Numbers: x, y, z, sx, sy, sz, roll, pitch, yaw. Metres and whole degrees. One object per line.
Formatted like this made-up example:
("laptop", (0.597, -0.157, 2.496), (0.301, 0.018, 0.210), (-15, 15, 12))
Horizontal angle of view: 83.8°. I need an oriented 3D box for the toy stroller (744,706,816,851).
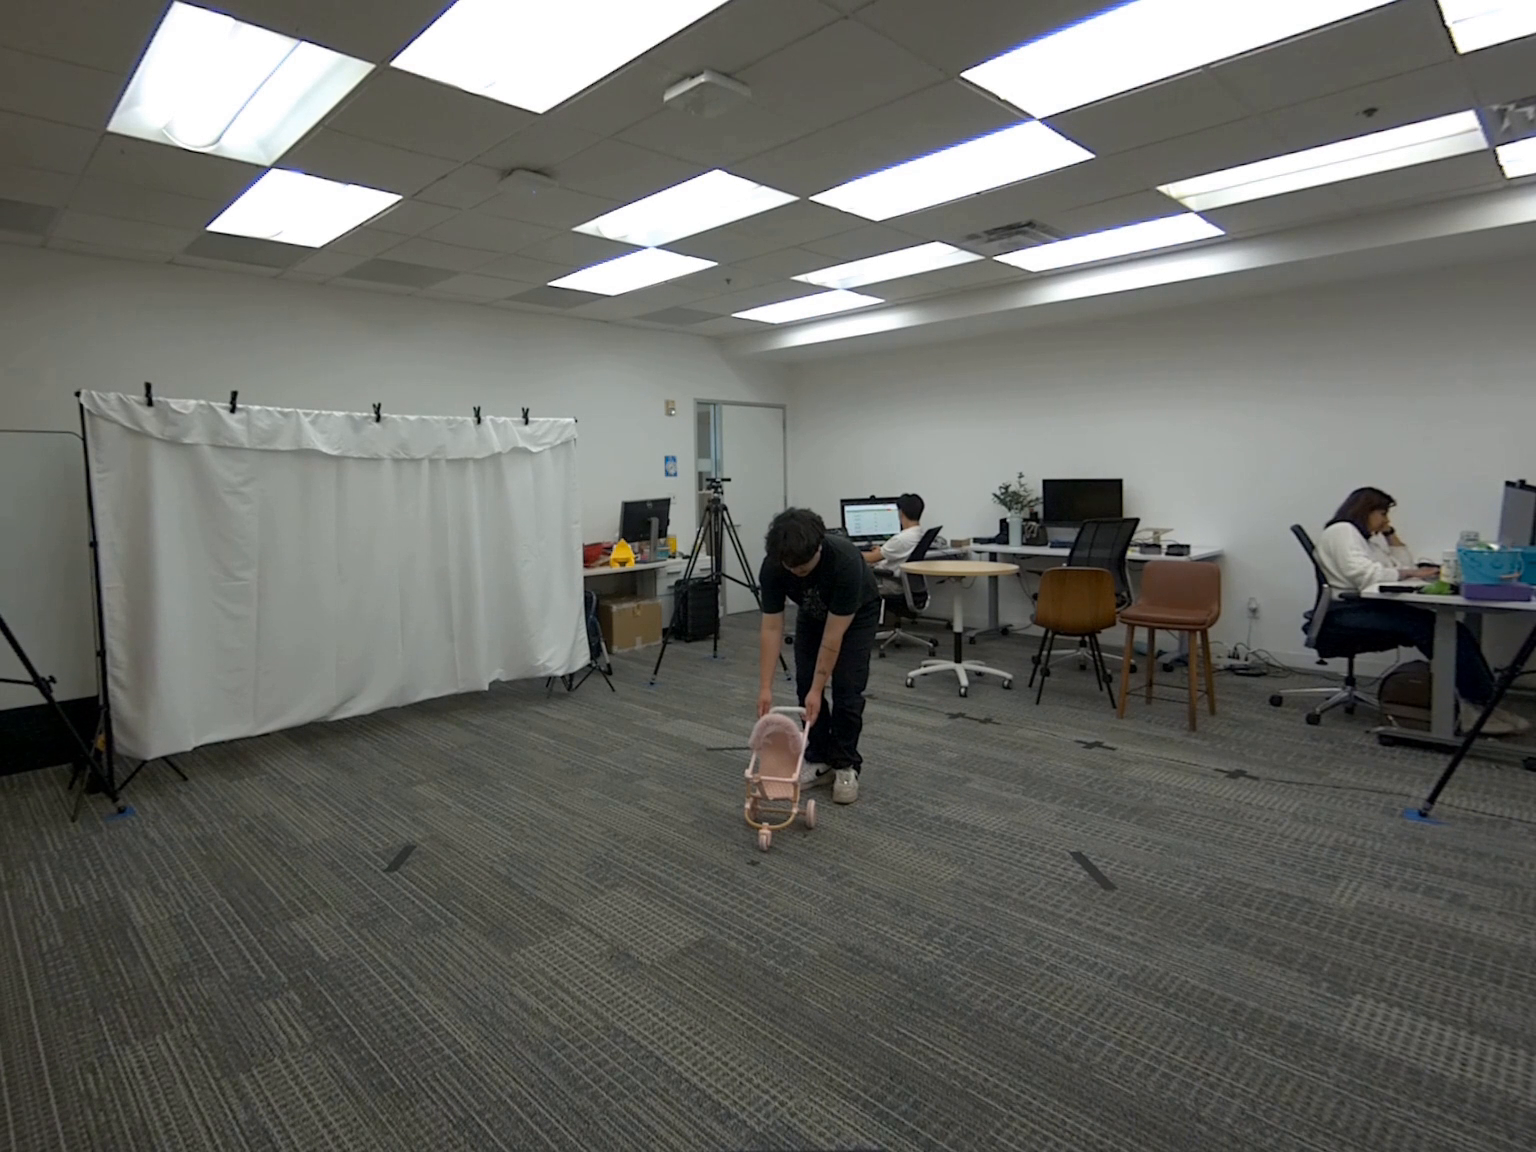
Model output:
("toy stroller", (0.030, 0.785, 3.380), (0.287, 0.540, 0.332), (0, -11, 20))
